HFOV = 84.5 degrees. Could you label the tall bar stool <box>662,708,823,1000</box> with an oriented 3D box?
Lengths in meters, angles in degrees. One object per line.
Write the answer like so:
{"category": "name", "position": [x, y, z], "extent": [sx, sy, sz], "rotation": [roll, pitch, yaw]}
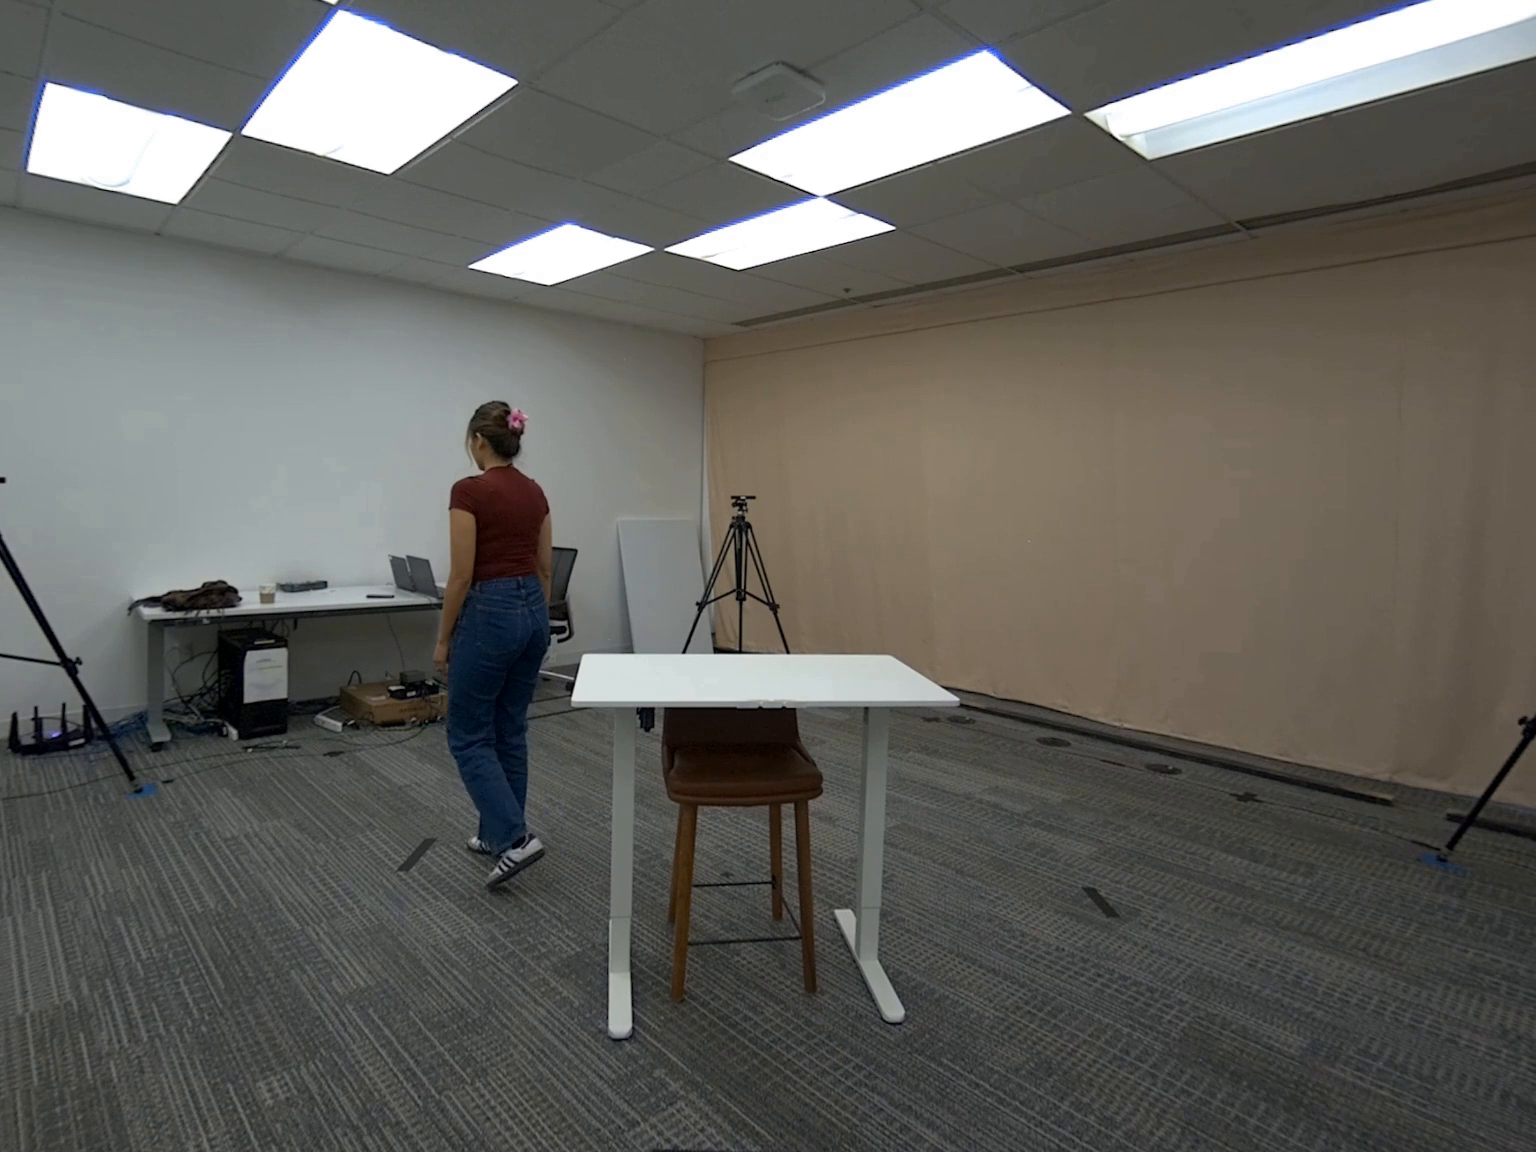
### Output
{"category": "tall bar stool", "position": [-0.104, 0.730, 2.539], "extent": [0.454, 0.888, 0.471], "rotation": [-1, 2, -8]}
